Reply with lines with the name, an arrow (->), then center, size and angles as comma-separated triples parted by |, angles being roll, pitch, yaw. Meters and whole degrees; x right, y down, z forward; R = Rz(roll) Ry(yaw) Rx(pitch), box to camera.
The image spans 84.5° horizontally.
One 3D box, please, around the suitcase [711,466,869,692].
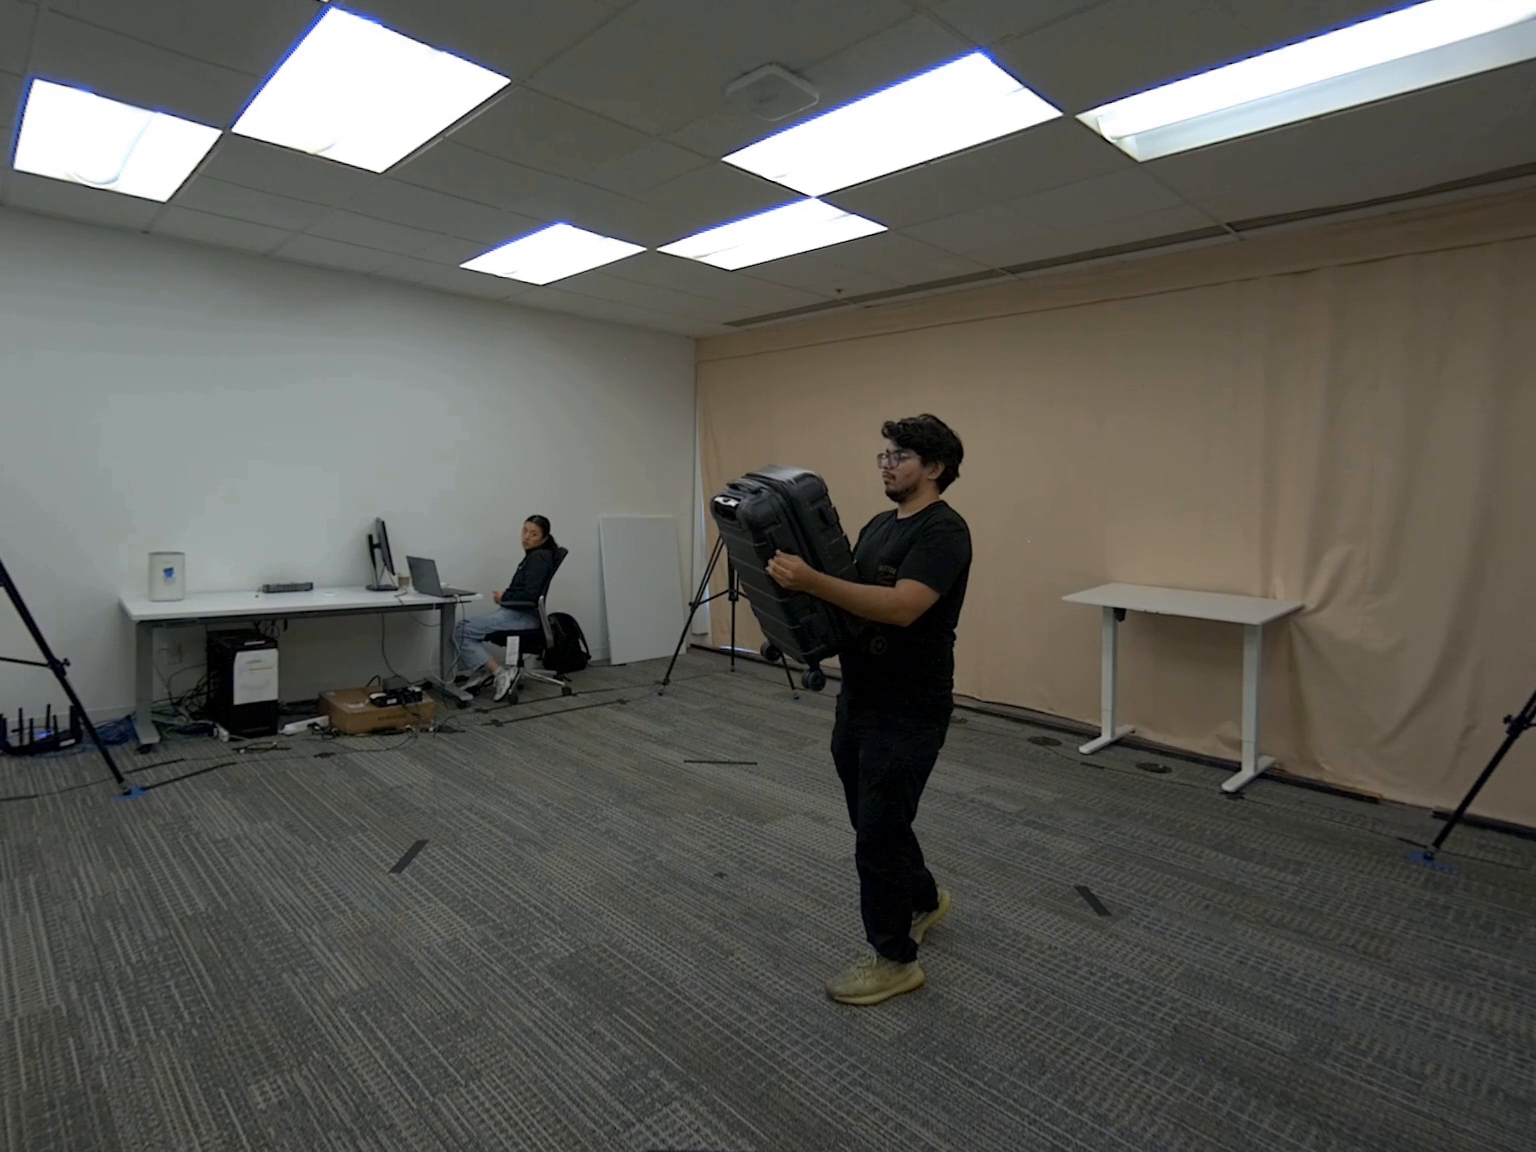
suitcase -> 0.068, -0.028, 2.311 | 0.247, 0.542, 0.382 | -27, 15, -14
